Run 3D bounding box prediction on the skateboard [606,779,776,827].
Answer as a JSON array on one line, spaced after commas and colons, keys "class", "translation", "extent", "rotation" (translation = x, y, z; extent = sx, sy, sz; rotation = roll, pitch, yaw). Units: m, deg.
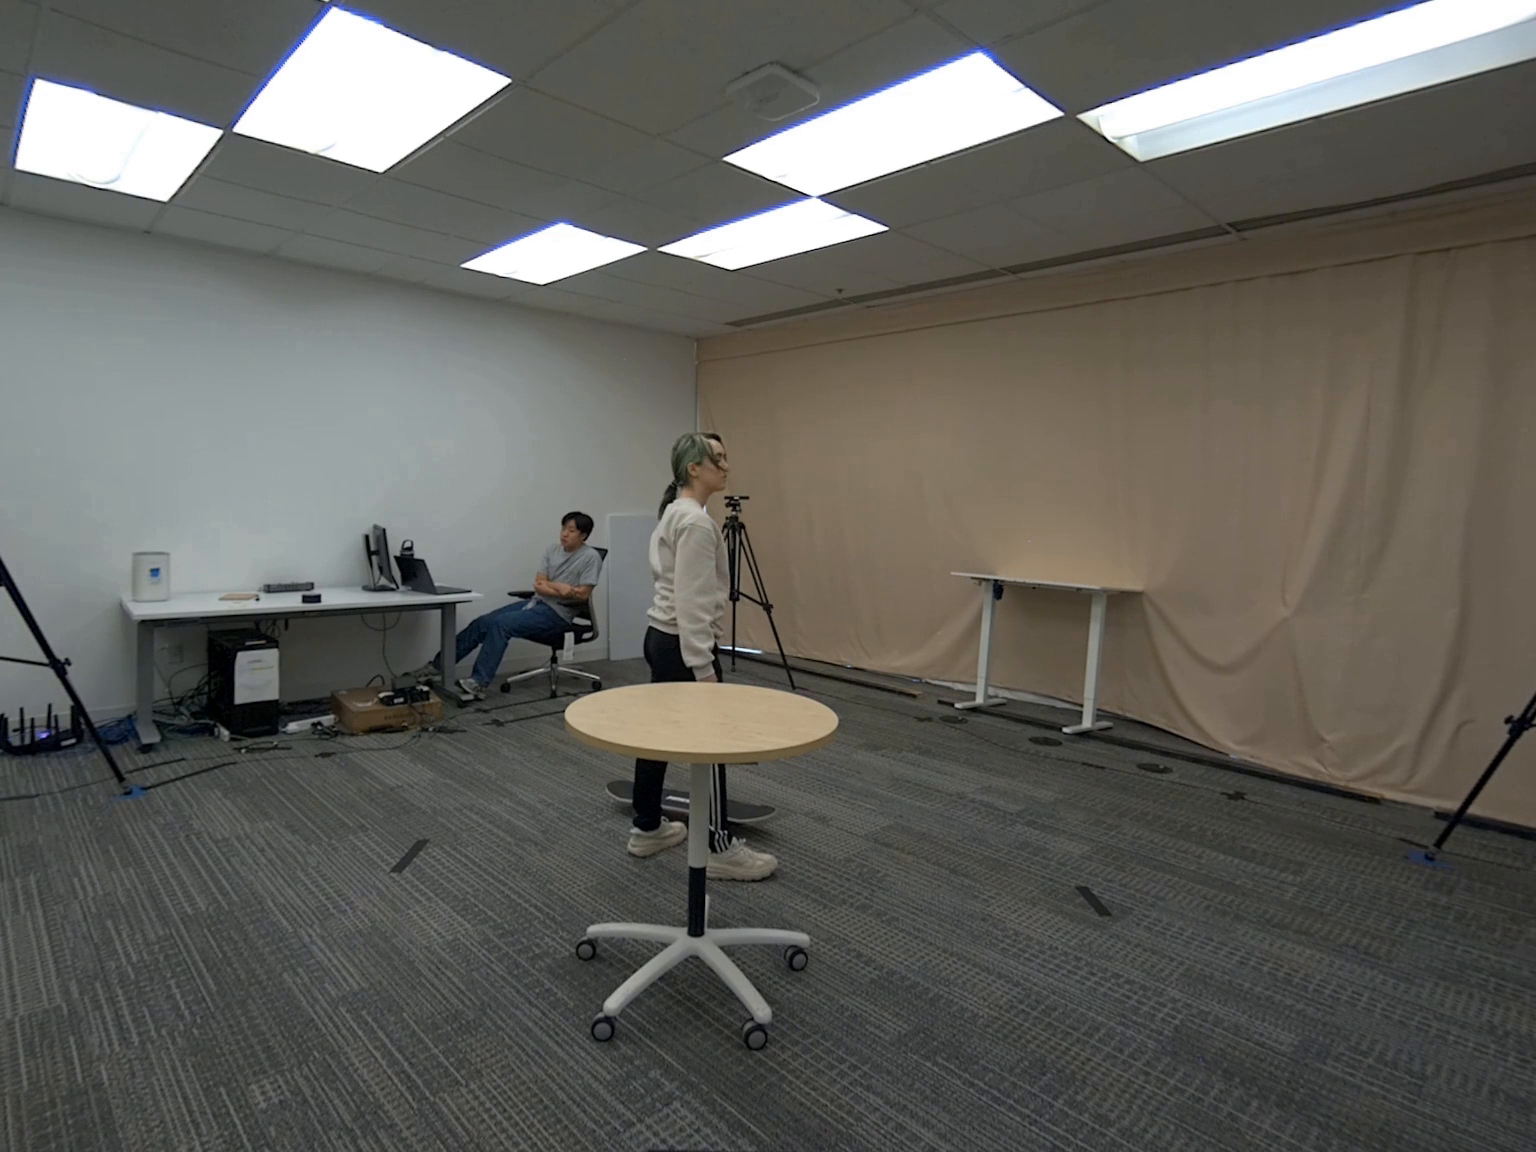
[{"class": "skateboard", "translation": [-0.355, 0.994, 3.609], "extent": [0.800, 0.110, 0.190], "rotation": [4, 5, 23]}]
